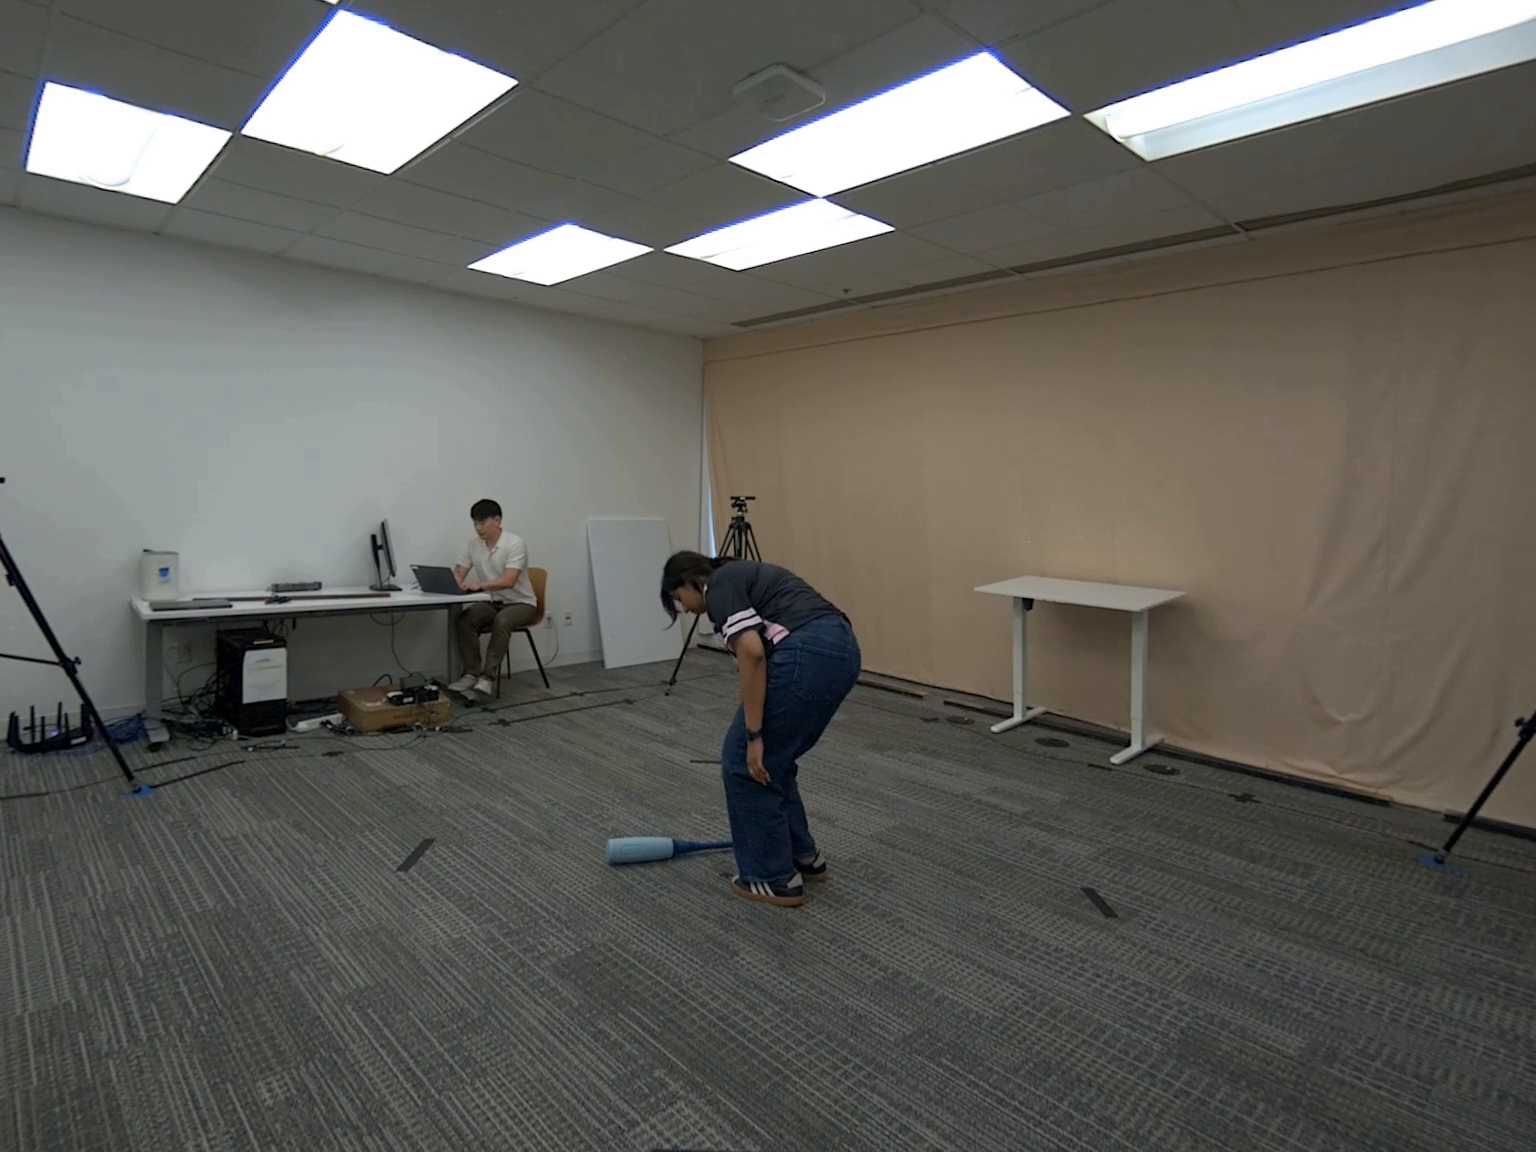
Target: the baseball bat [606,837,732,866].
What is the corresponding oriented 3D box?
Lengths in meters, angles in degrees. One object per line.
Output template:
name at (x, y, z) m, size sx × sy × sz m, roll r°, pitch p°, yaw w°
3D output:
baseball bat at (-0.361, 1.048, 3.245) m, size 0.535 × 0.089 × 0.090 m, roll 3°, pitch 3°, yaw -19°
